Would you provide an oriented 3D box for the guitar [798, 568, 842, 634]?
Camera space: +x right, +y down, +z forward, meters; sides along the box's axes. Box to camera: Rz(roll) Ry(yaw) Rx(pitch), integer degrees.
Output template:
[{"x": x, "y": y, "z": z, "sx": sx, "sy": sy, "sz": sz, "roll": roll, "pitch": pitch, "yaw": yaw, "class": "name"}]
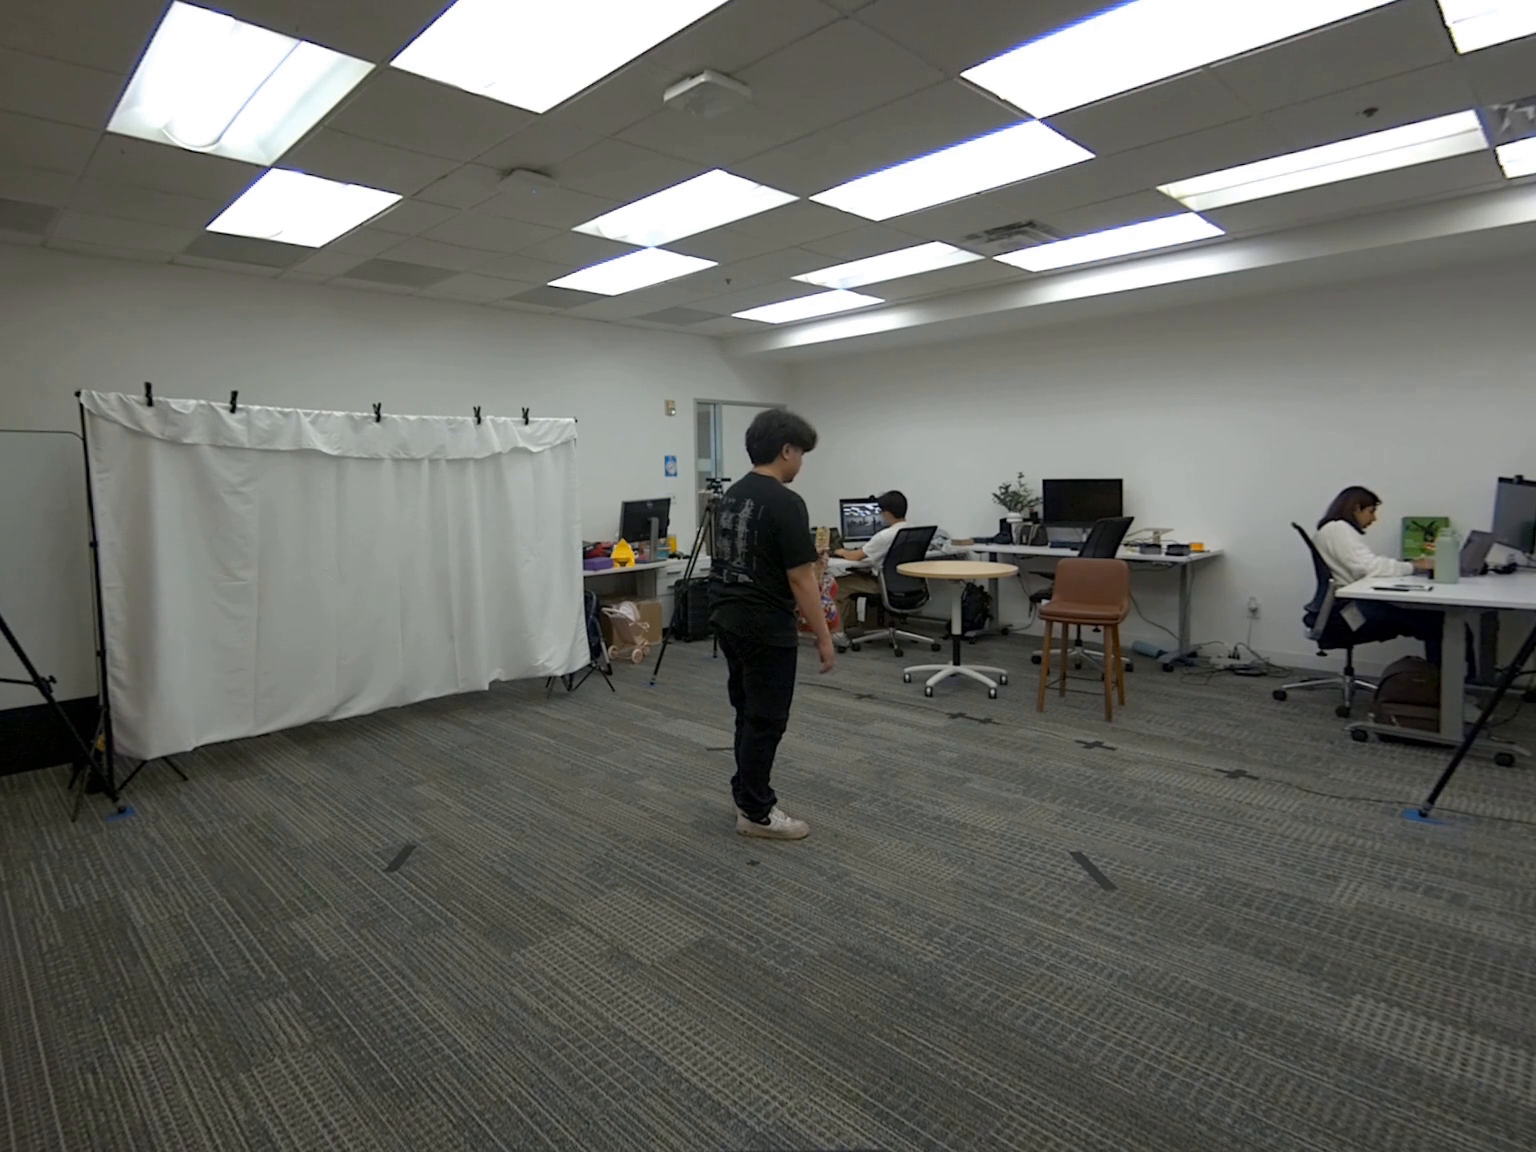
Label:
[{"x": 0.246, "y": 0.014, "z": 3.602, "sx": 0.197, "sy": 0.504, "sz": 0.068, "roll": 6, "pitch": -33, "yaw": 23, "class": "guitar"}]
